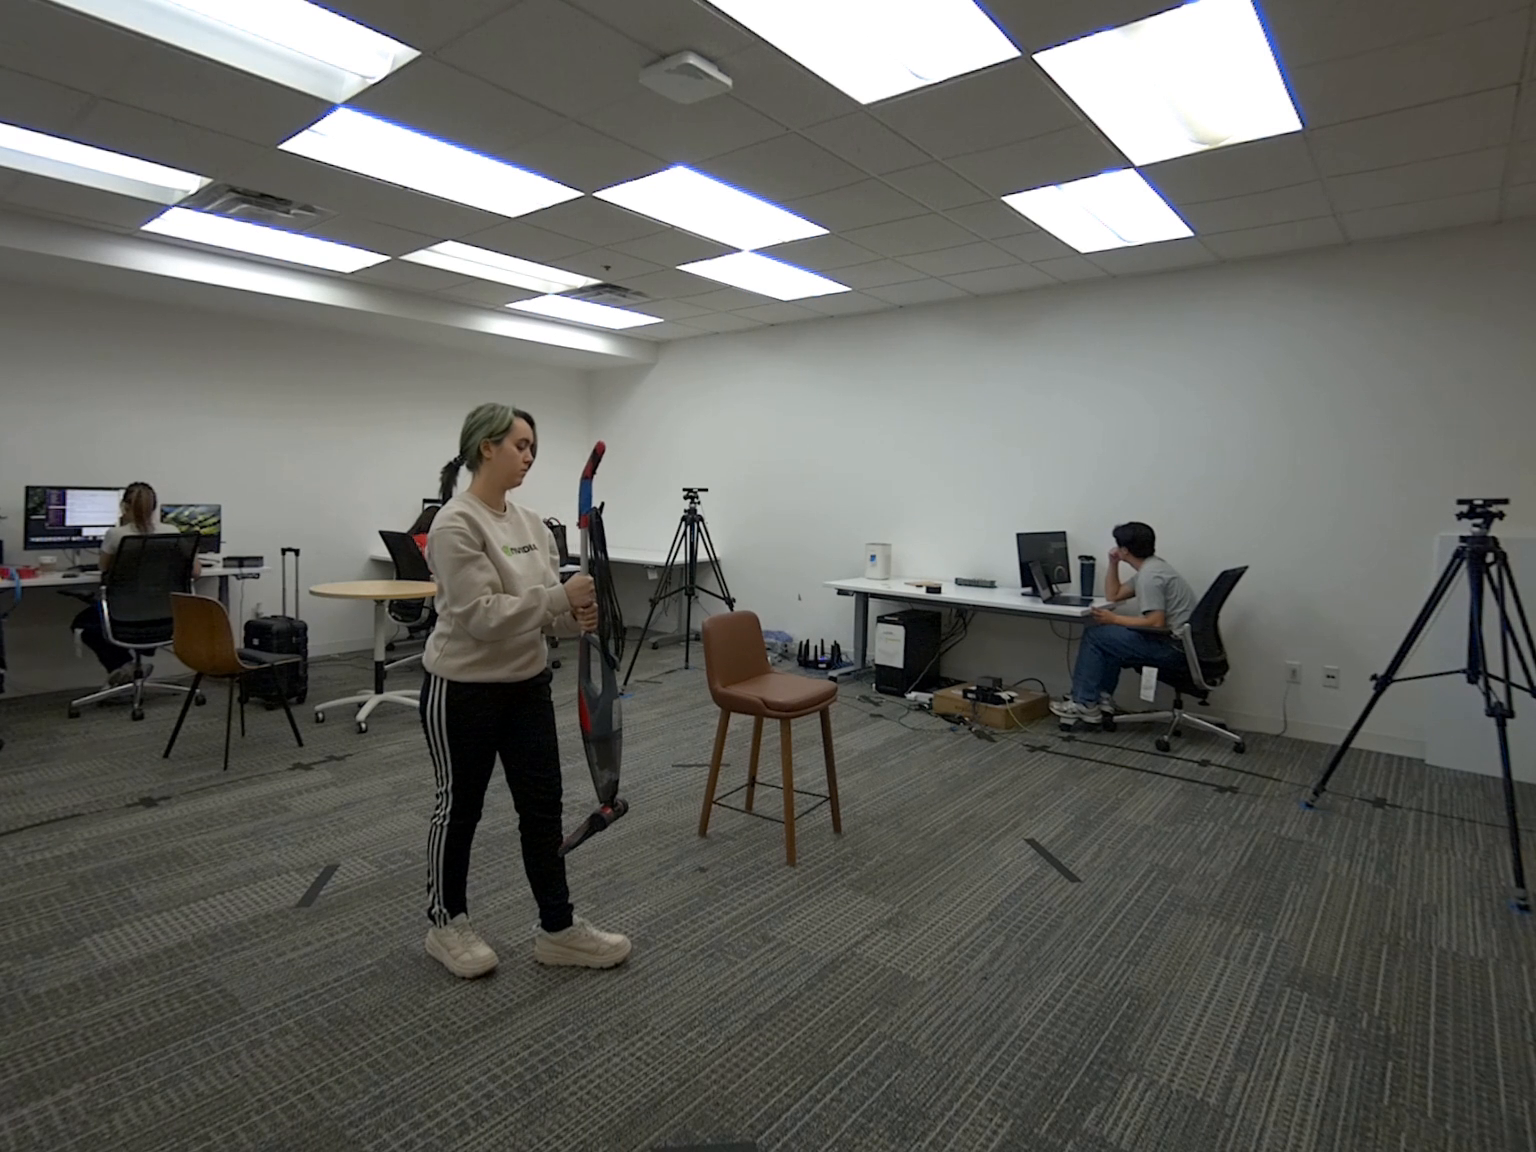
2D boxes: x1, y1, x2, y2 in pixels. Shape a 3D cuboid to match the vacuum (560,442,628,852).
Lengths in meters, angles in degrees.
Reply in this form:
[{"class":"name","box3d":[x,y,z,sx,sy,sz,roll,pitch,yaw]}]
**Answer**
[{"class":"vacuum","box3d":[-0.465,0.163,2.322,0.147,1.046,0.248,2,3,17]}]
